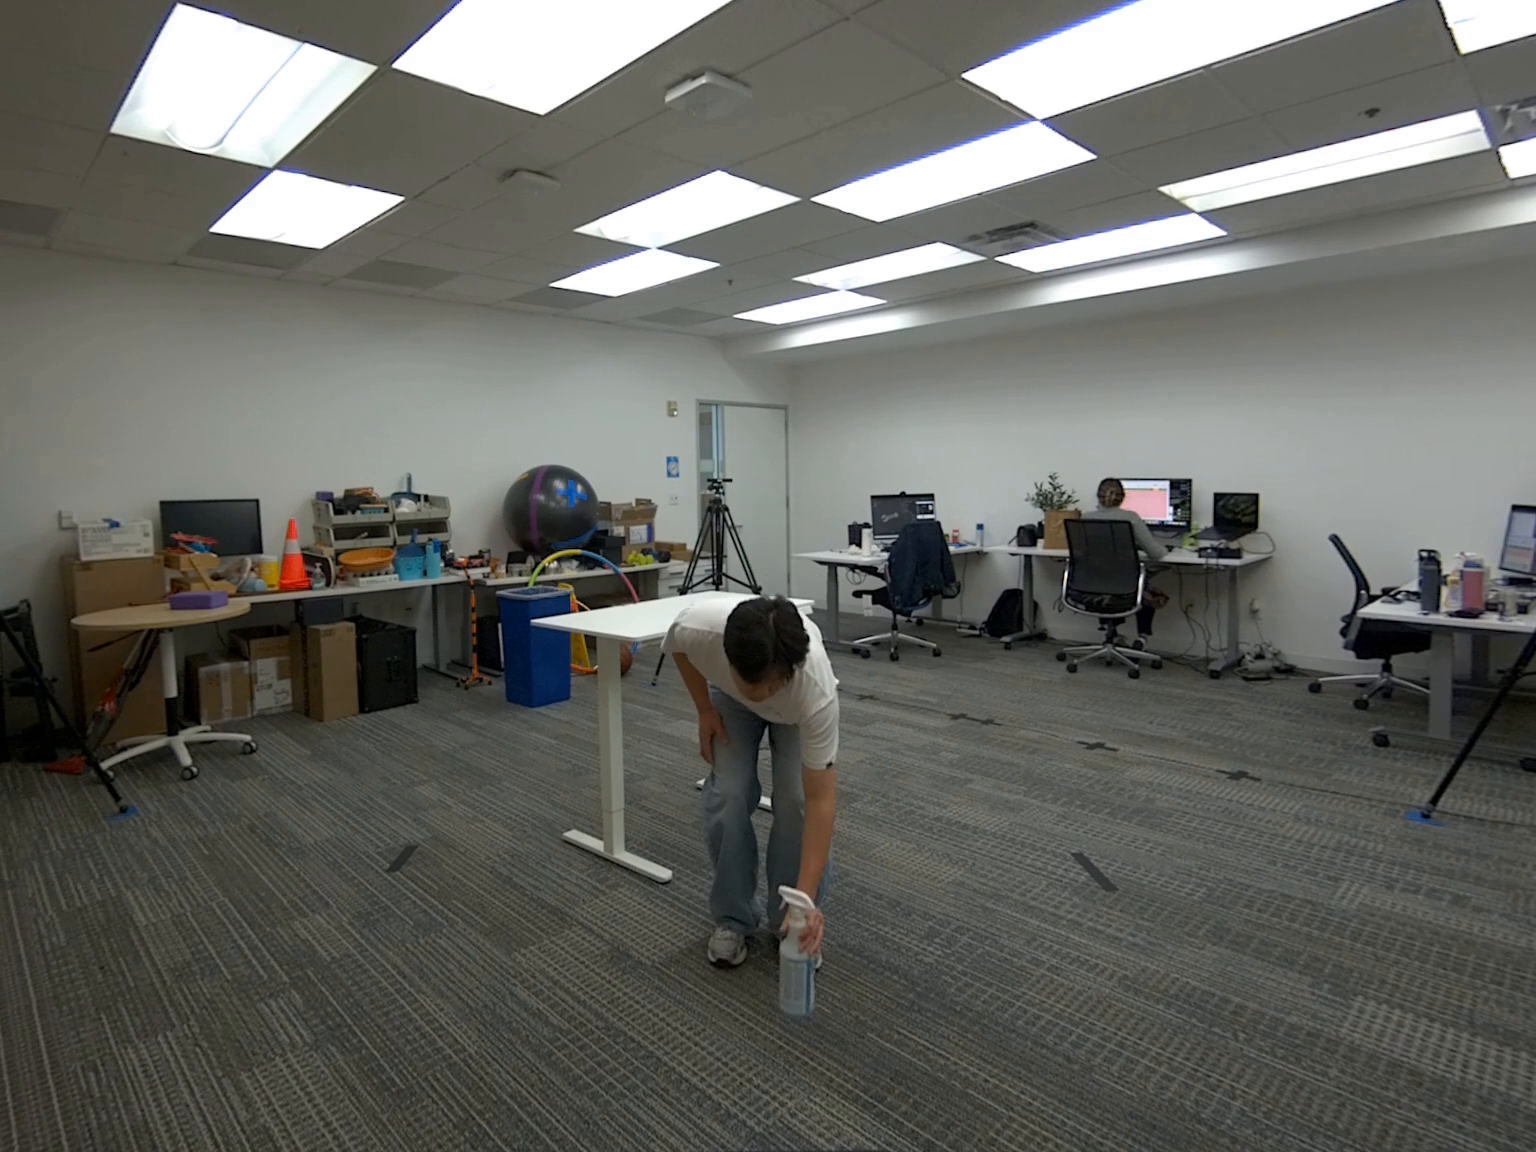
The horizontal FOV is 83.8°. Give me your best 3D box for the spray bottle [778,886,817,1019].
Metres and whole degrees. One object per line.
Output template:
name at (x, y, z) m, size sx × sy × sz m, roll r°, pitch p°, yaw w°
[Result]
spray bottle at (0.078, 0.894, 2.063) m, size 0.085 × 0.296 × 0.093 m, roll -3°, pitch 4°, yaw -38°
